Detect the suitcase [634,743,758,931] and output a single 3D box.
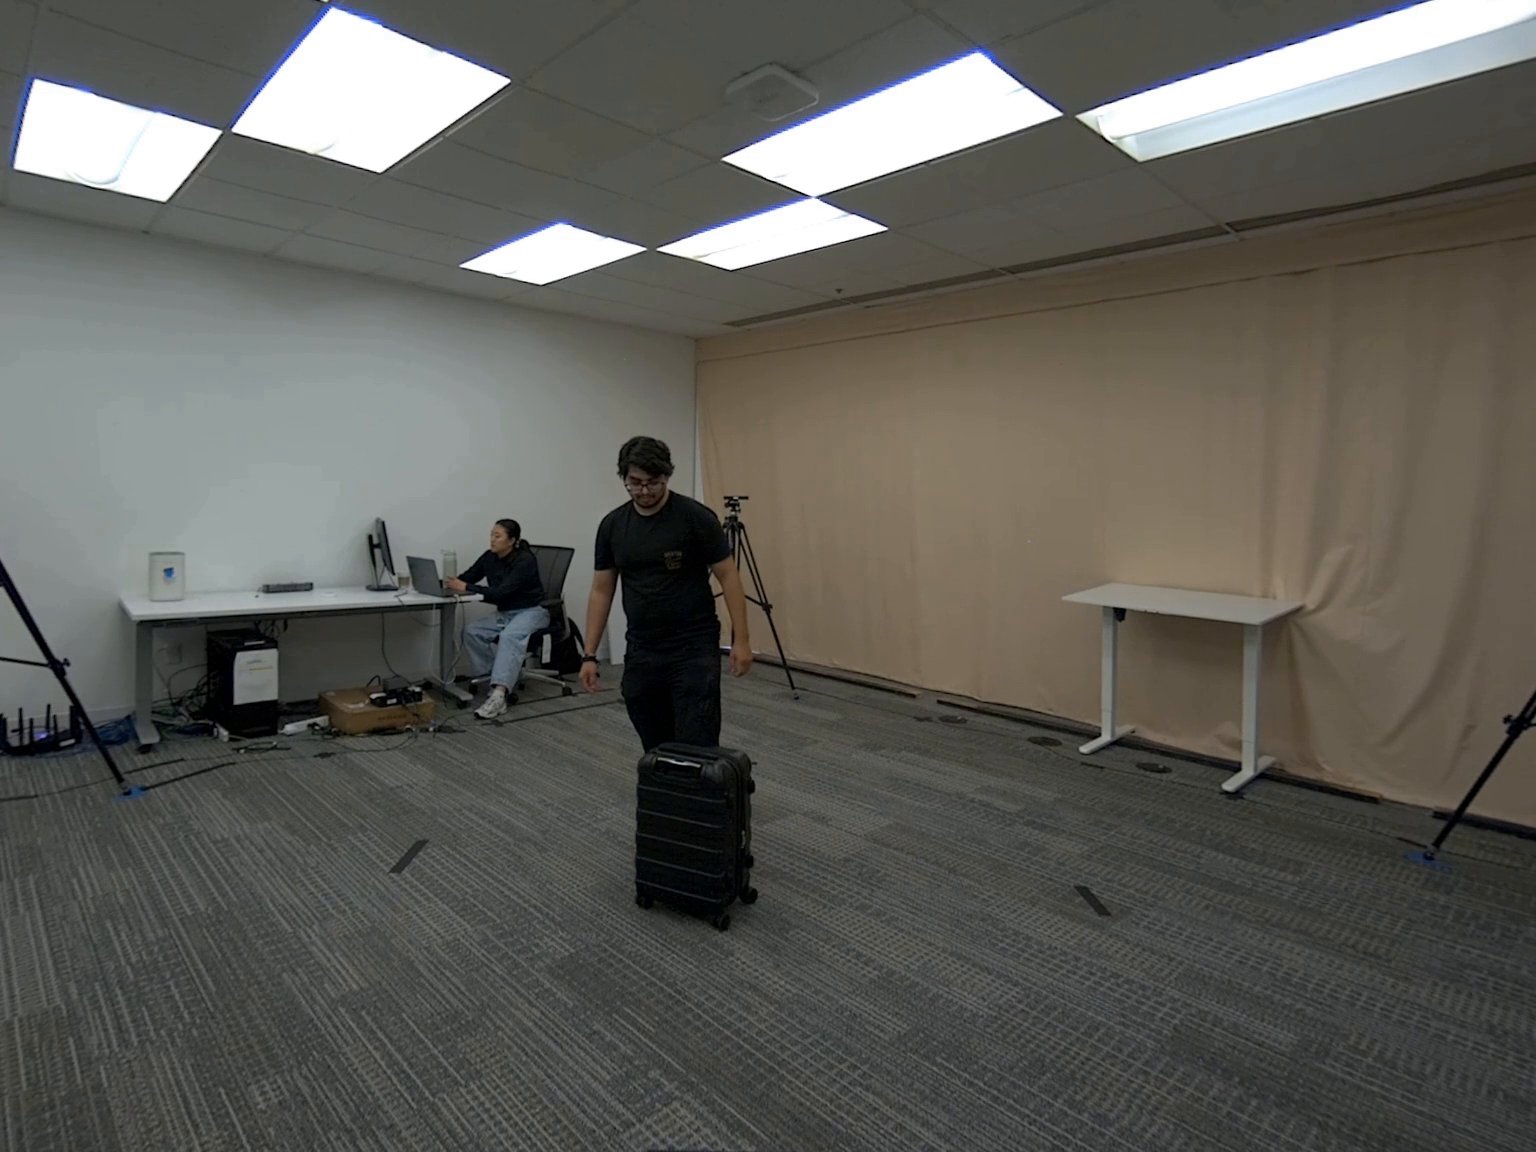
[{"bbox_3d":[-0.251,0.846,2.847,0.383,0.548,0.244,2,4,26],"label":"suitcase"}]
